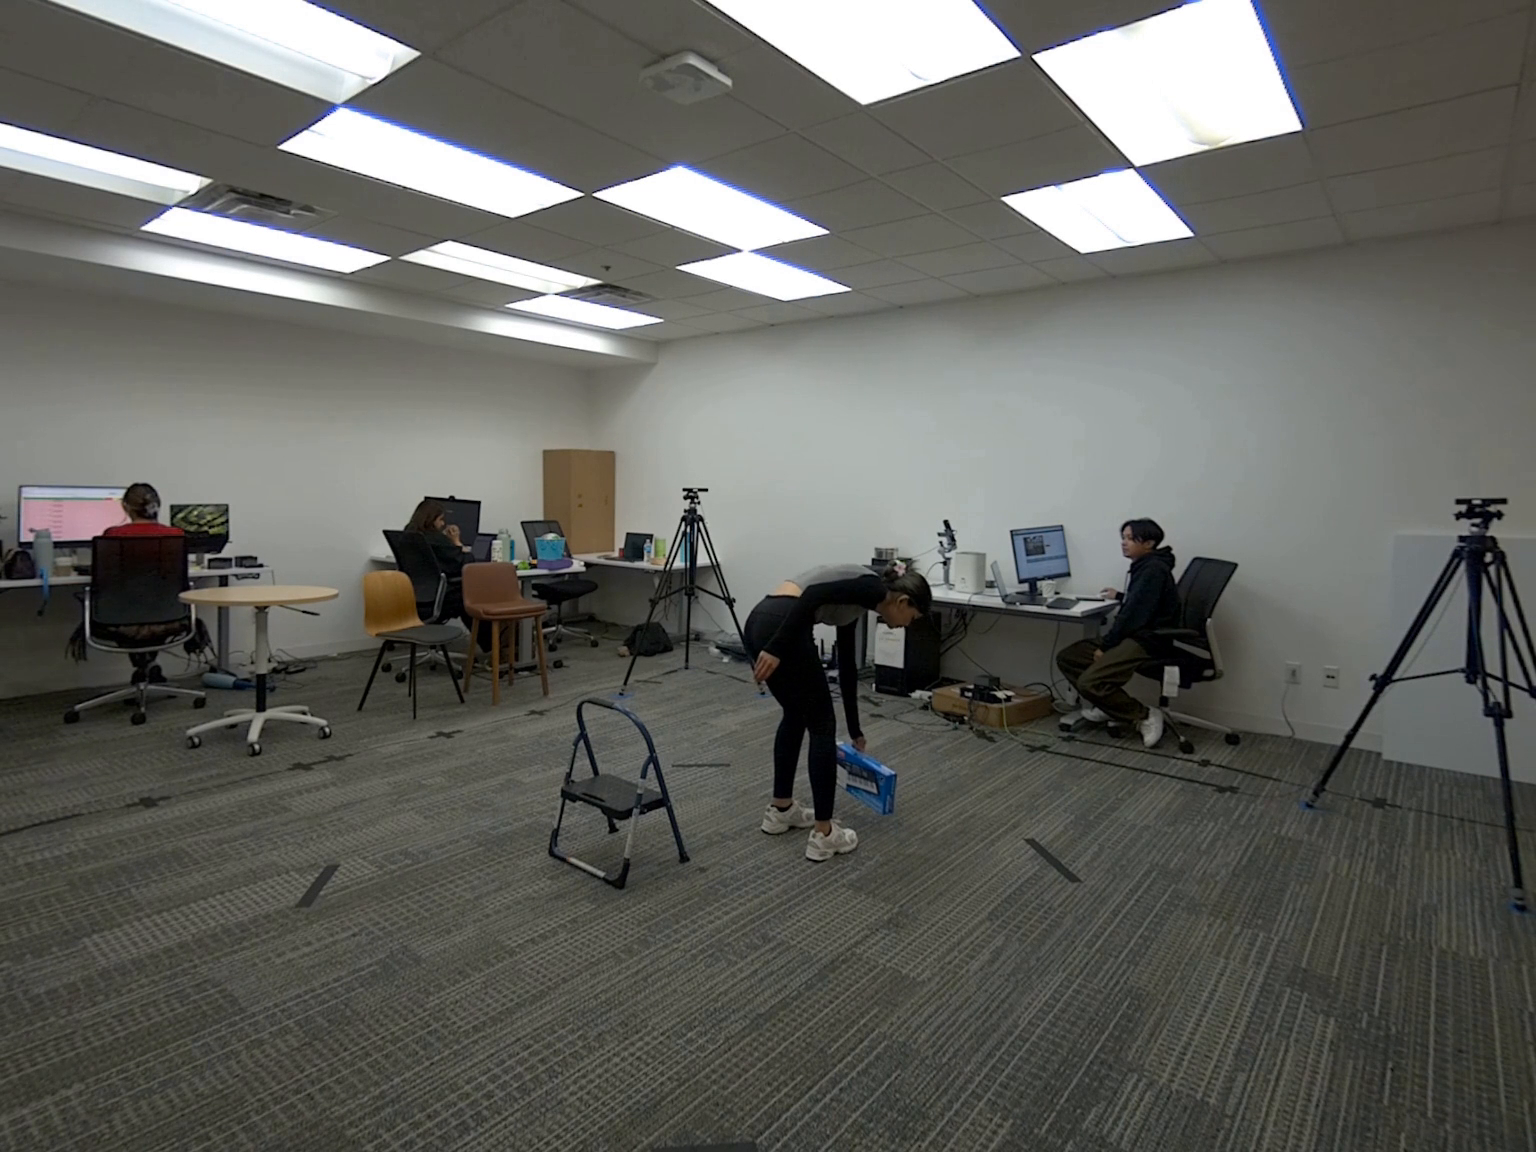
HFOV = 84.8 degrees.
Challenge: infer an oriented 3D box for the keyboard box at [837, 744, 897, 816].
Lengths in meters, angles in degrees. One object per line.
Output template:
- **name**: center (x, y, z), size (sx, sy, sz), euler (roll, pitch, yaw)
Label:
- **keyboard box**: center (0.368, 0.838, 3.638), size (0.057, 0.174, 0.453), euler (-1, 11, -33)
